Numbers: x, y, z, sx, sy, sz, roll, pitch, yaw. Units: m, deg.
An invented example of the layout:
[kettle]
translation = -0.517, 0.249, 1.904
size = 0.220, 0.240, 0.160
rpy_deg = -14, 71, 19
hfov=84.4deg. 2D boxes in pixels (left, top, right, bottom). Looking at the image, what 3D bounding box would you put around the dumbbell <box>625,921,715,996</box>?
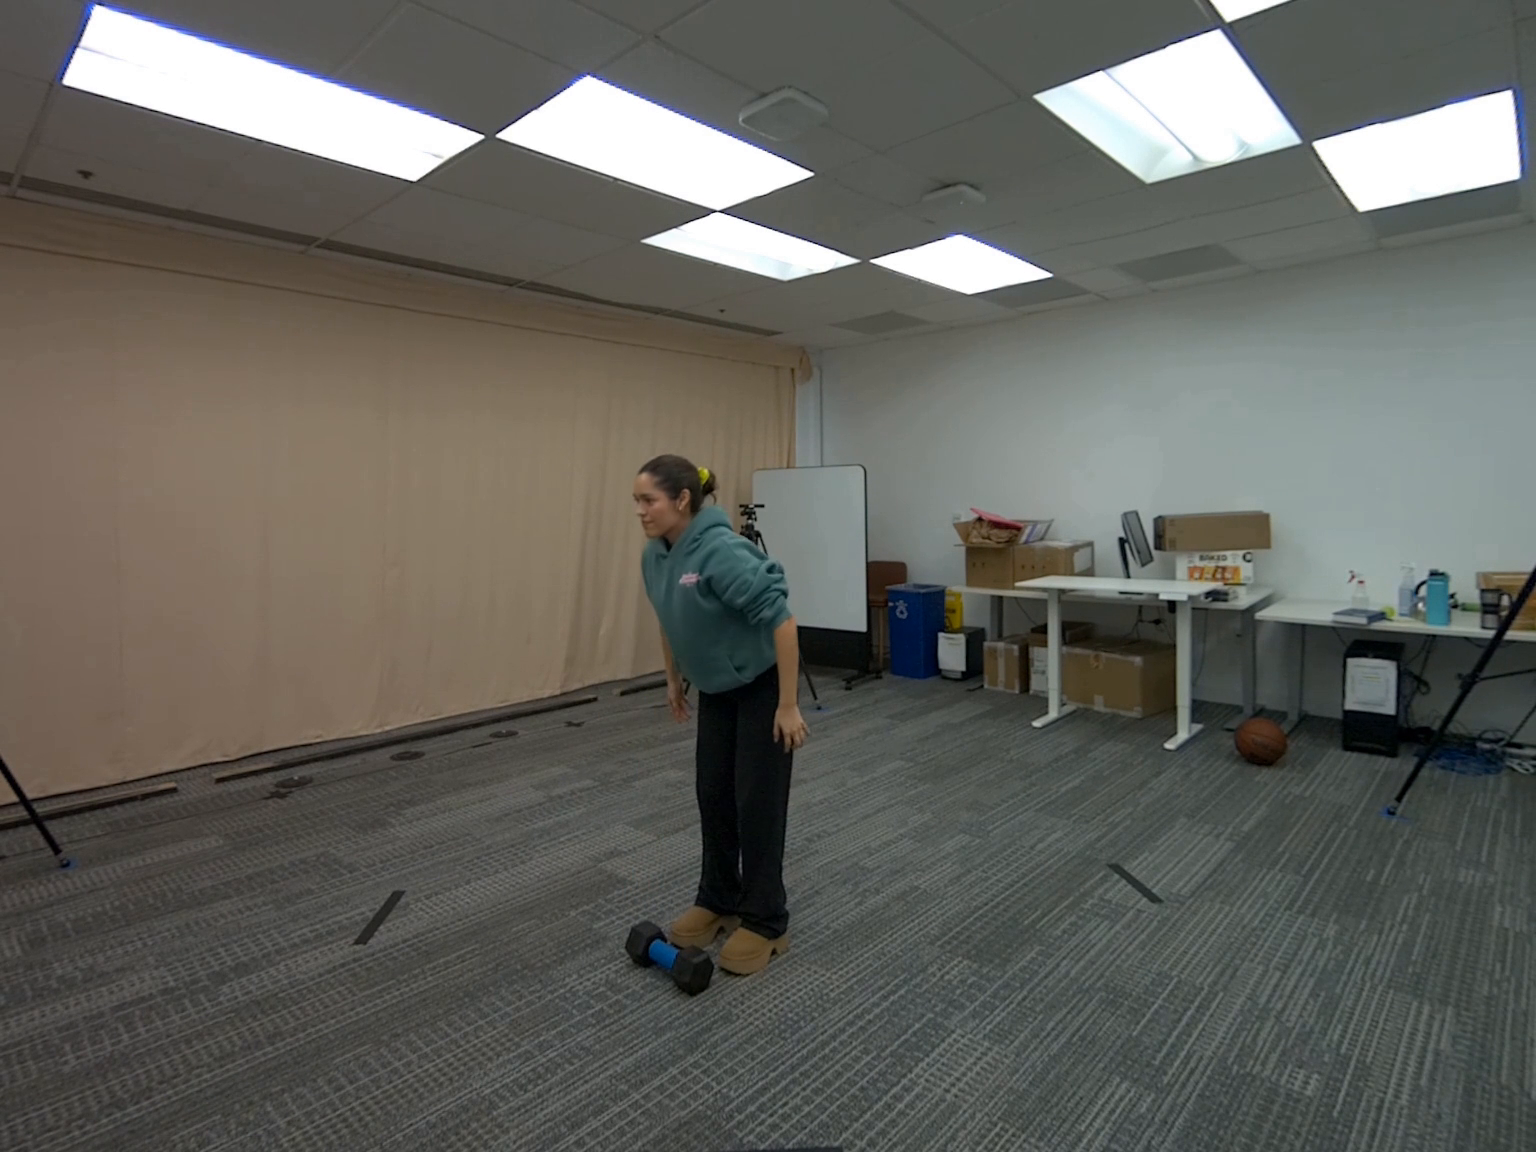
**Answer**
[dumbbell]
translation = -0.292, 1.135, 2.499
size = 0.303, 0.120, 0.107
rpy_deg = 3, 37, 45
